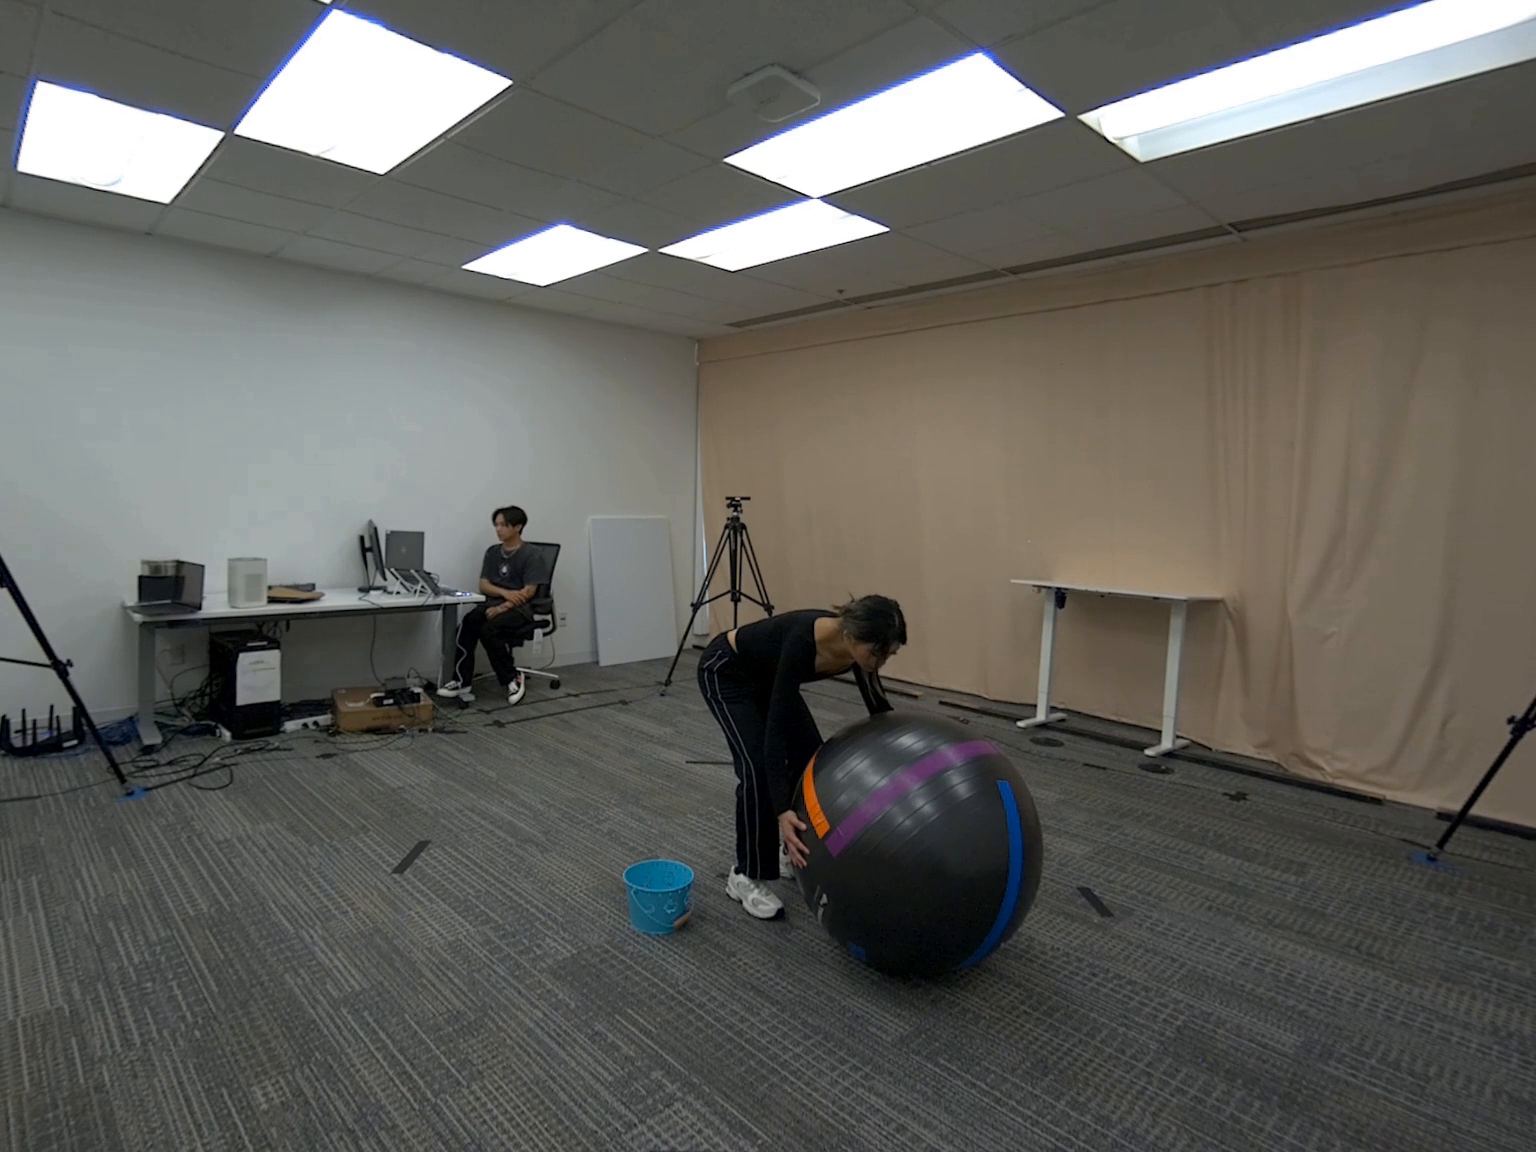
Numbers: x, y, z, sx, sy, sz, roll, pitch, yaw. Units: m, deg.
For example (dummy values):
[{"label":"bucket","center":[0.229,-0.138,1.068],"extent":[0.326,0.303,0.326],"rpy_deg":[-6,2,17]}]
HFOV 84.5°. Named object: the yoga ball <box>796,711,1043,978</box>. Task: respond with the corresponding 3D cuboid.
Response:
[{"label":"yoga ball","center":[0.450,0.805,2.560],"extent":[0.757,0.756,0.761],"rpy_deg":[1,4,-1]}]
